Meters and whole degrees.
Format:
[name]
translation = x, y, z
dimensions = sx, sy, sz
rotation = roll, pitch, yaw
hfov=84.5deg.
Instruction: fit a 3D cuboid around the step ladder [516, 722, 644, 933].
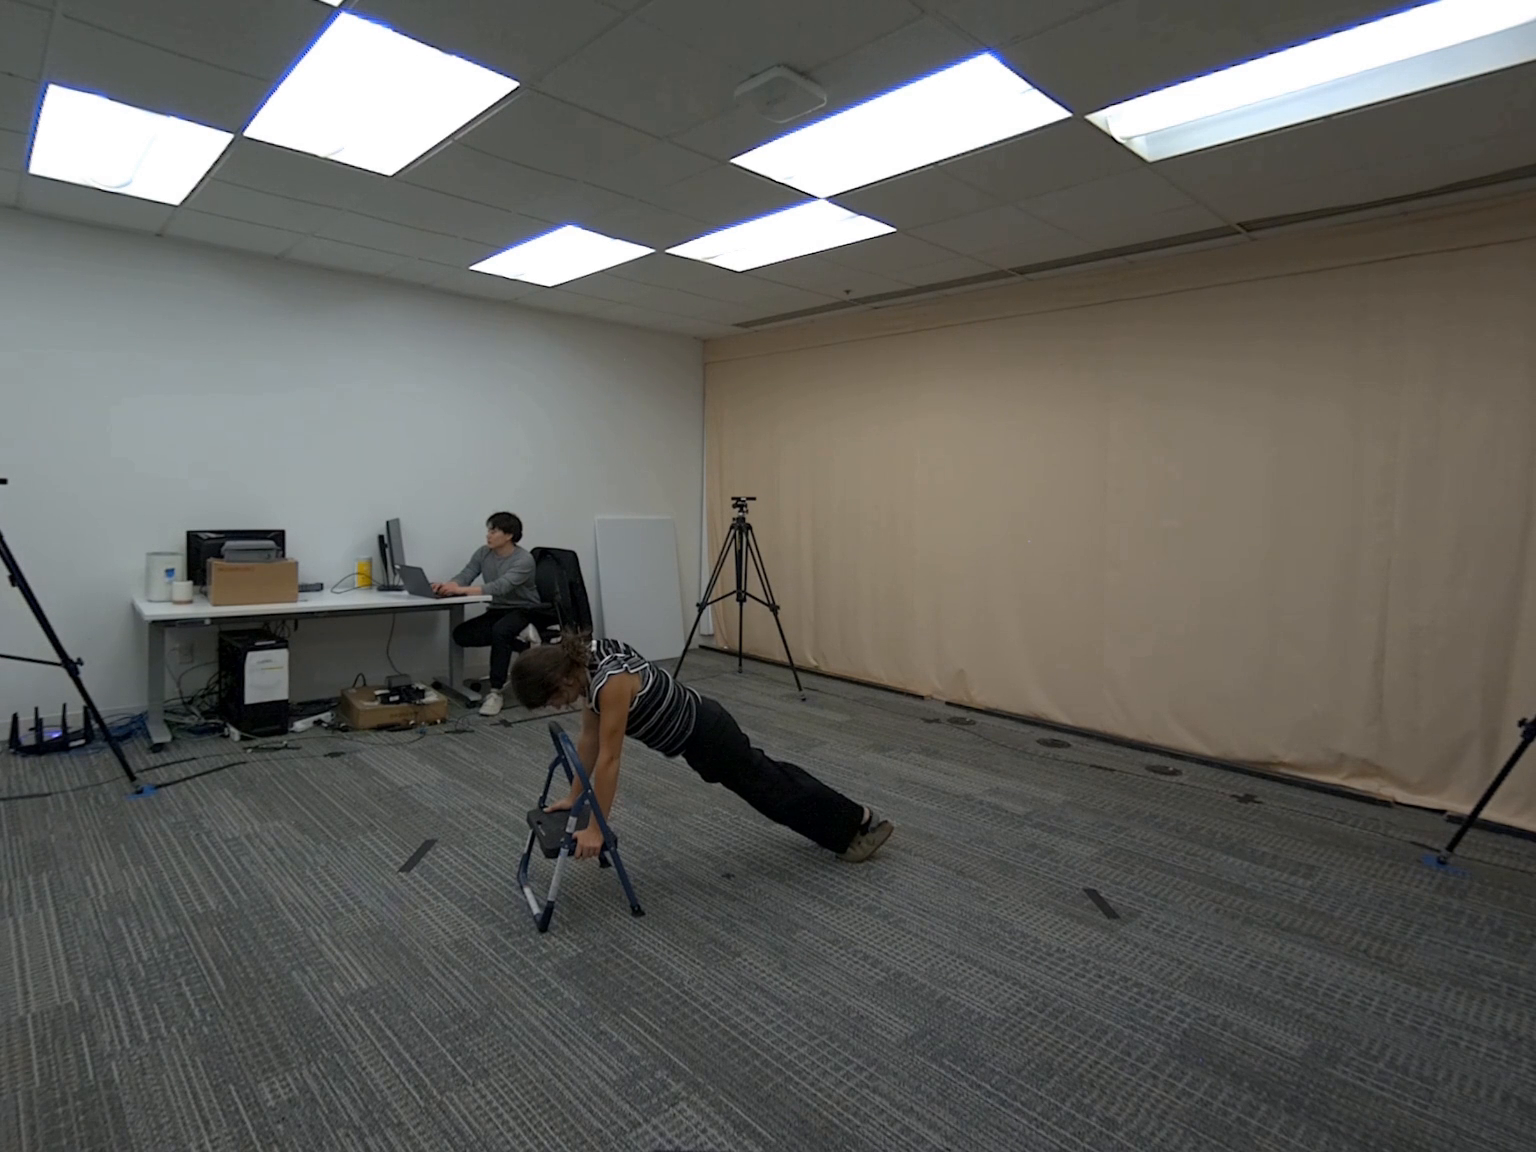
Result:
[step ladder]
translation = -0.662, 0.814, 2.900
dimensions = 0.343, 0.604, 0.440
rotation = -1, 4, -27
